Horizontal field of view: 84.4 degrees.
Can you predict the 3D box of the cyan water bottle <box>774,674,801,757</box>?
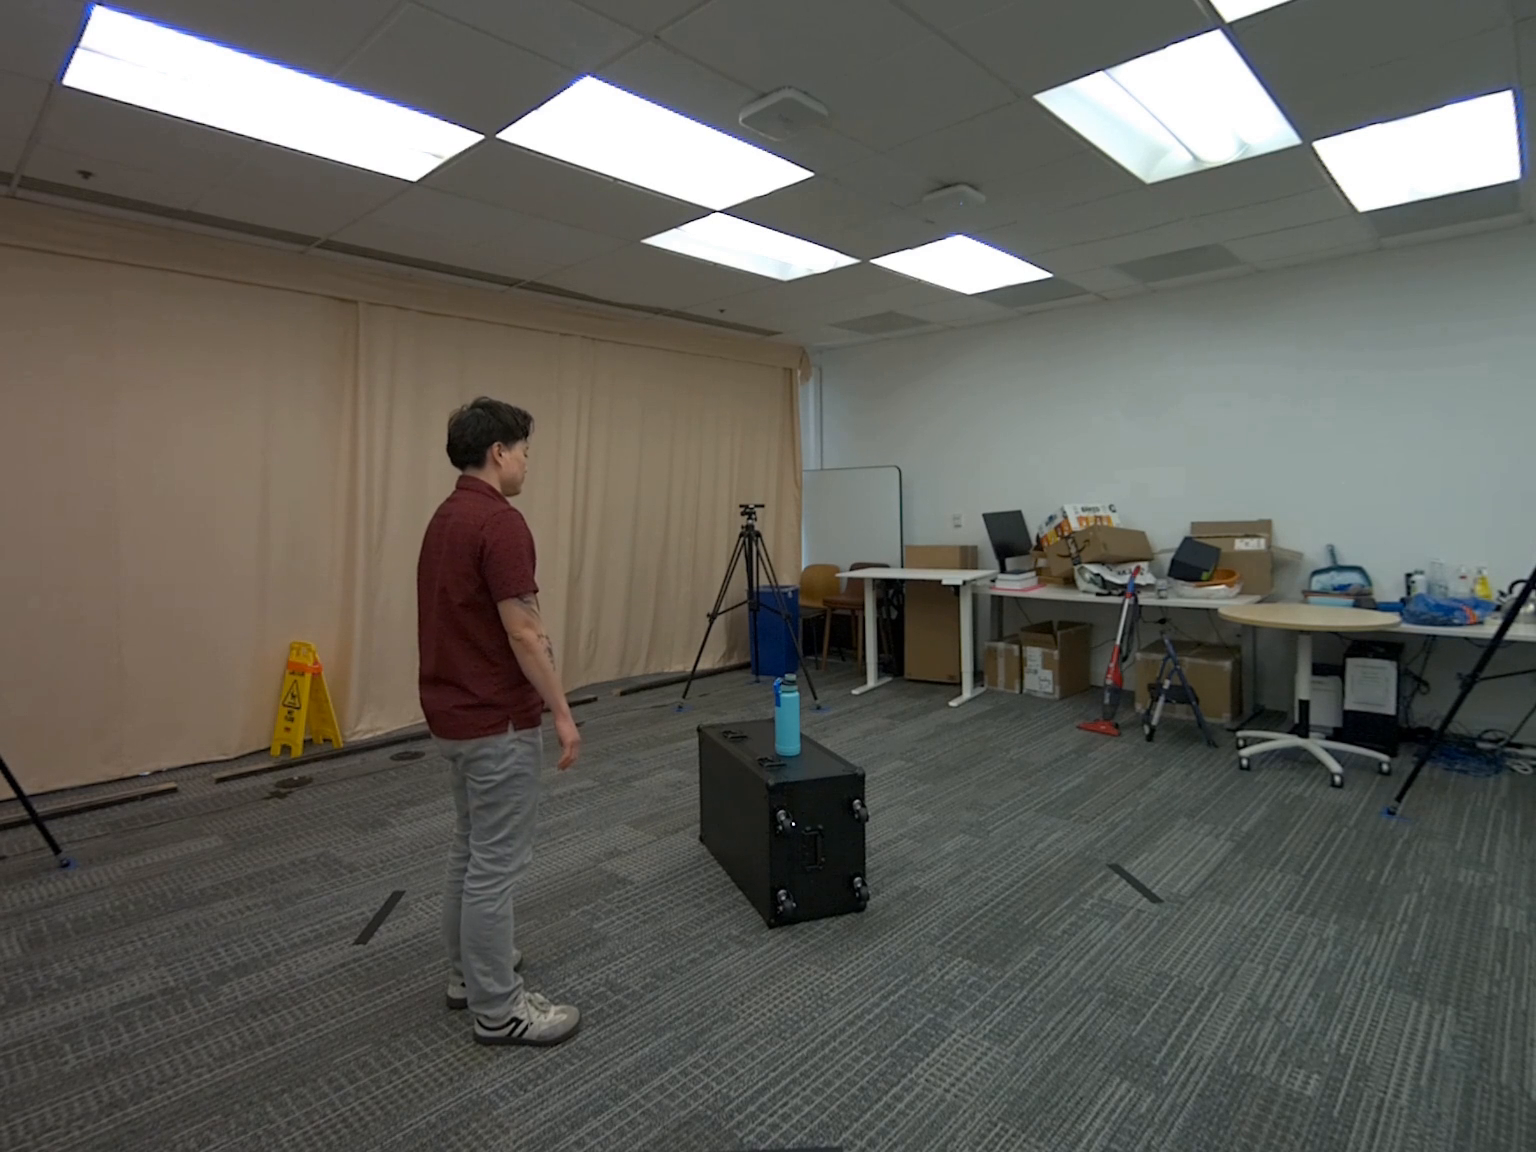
[{"bbox_3d":[0.075,0.504,3.076,0.092,0.282,0.093,-2,4,-2],"label":"cyan water bottle"}]
